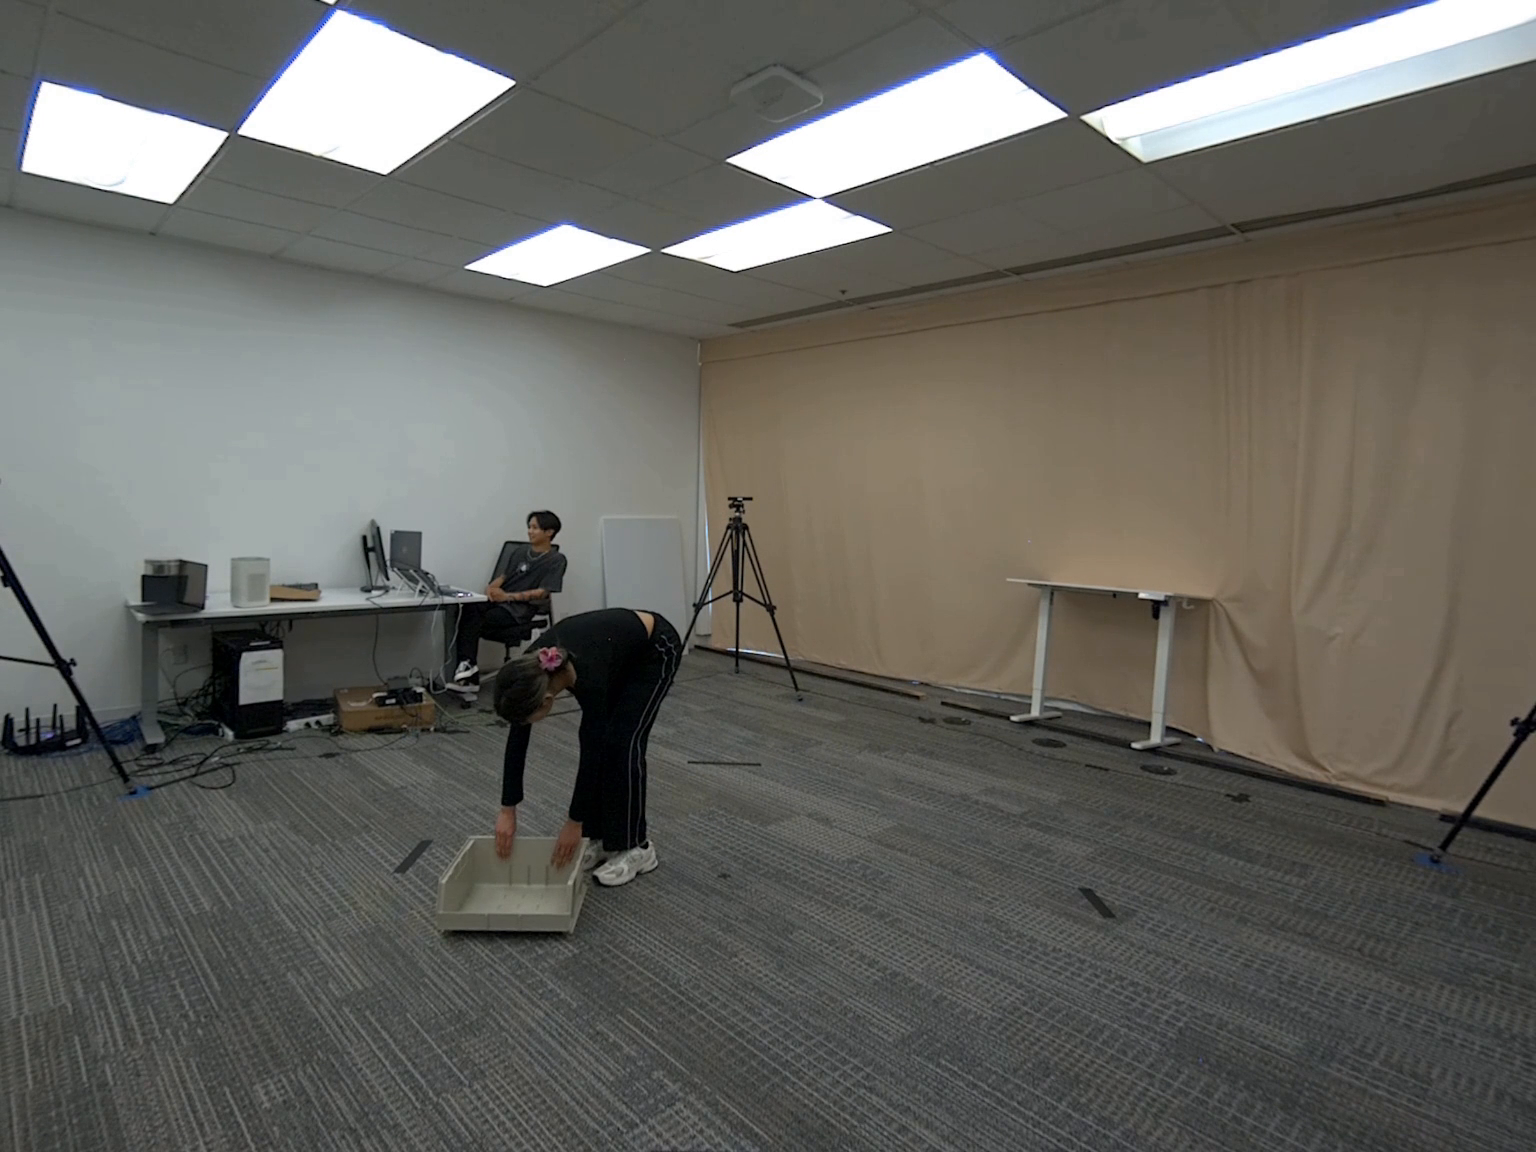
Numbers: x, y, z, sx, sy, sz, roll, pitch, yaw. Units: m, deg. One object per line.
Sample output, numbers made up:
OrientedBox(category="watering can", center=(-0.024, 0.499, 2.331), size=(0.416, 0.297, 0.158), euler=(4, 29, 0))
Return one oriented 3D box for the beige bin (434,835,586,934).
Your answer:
OrientedBox(category="beige bin", center=(-0.837, 1.038, 2.796), size=(0.421, 0.188, 0.379), euler=(-1, 5, -3))
